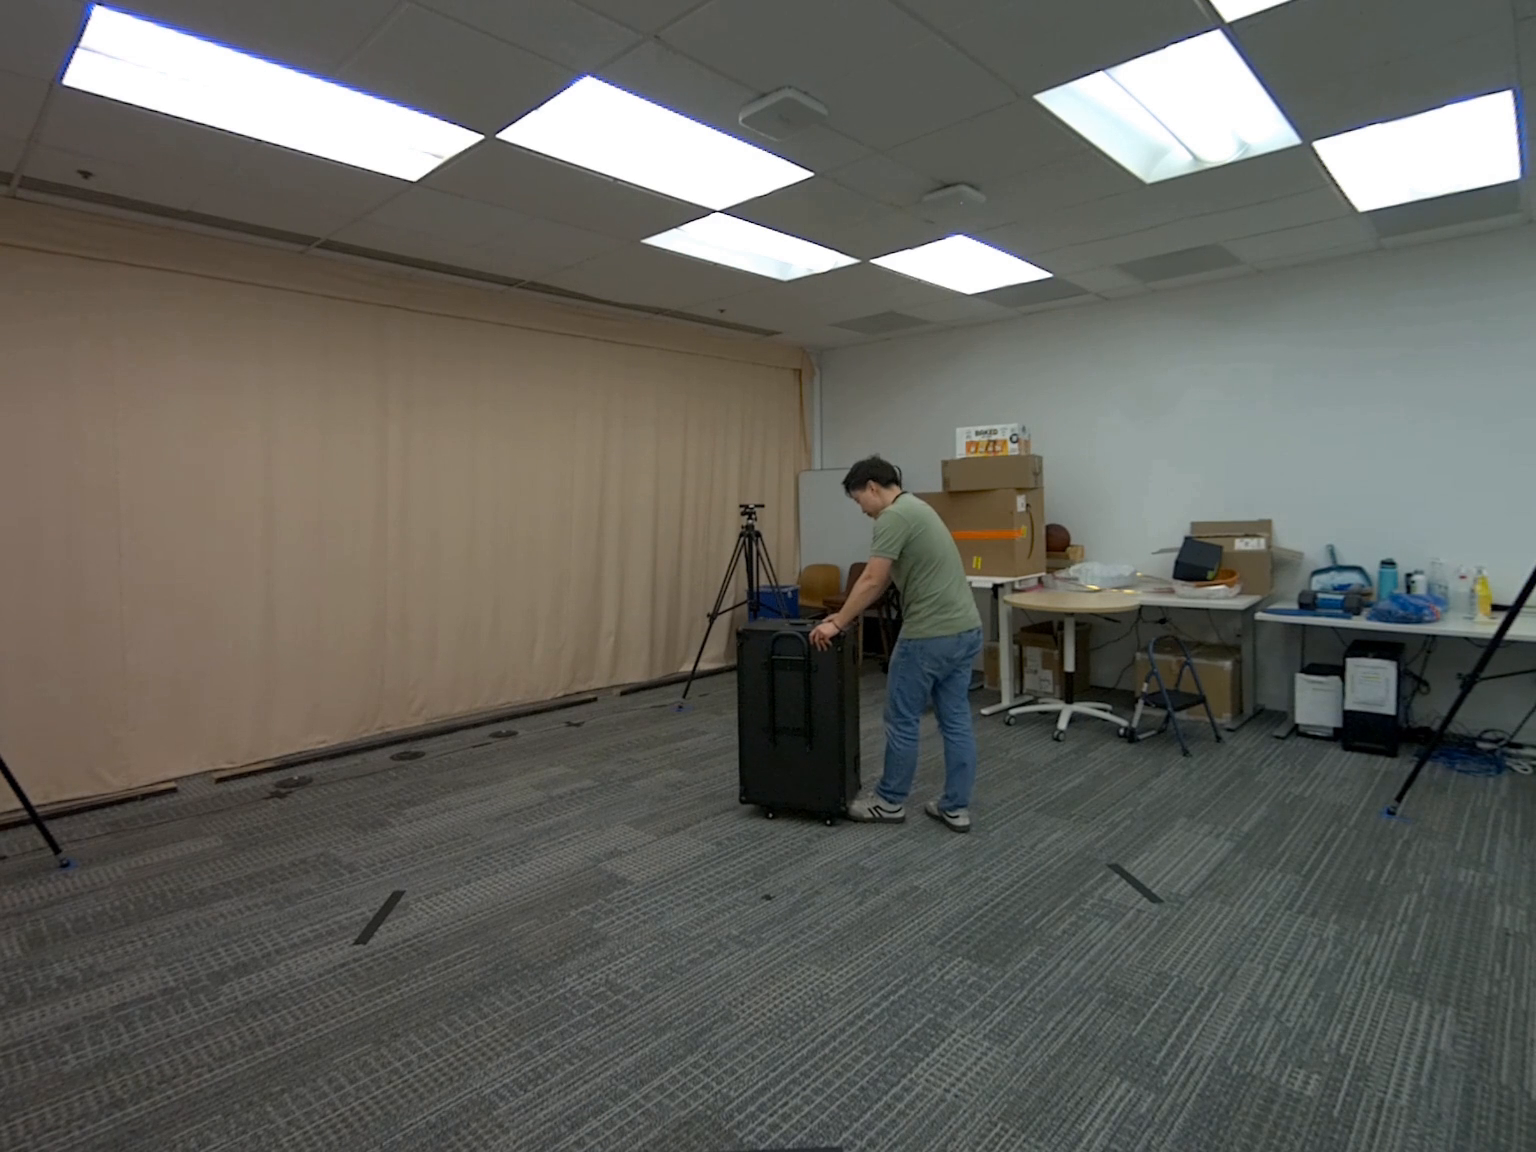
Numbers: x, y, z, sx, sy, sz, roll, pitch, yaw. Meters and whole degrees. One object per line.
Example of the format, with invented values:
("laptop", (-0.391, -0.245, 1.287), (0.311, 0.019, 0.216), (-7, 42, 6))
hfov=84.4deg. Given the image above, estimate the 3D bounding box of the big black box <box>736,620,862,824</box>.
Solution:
("big black box", (0.152, 0.653, 3.793), (0.532, 0.859, 0.389), (0, 4, 18))
